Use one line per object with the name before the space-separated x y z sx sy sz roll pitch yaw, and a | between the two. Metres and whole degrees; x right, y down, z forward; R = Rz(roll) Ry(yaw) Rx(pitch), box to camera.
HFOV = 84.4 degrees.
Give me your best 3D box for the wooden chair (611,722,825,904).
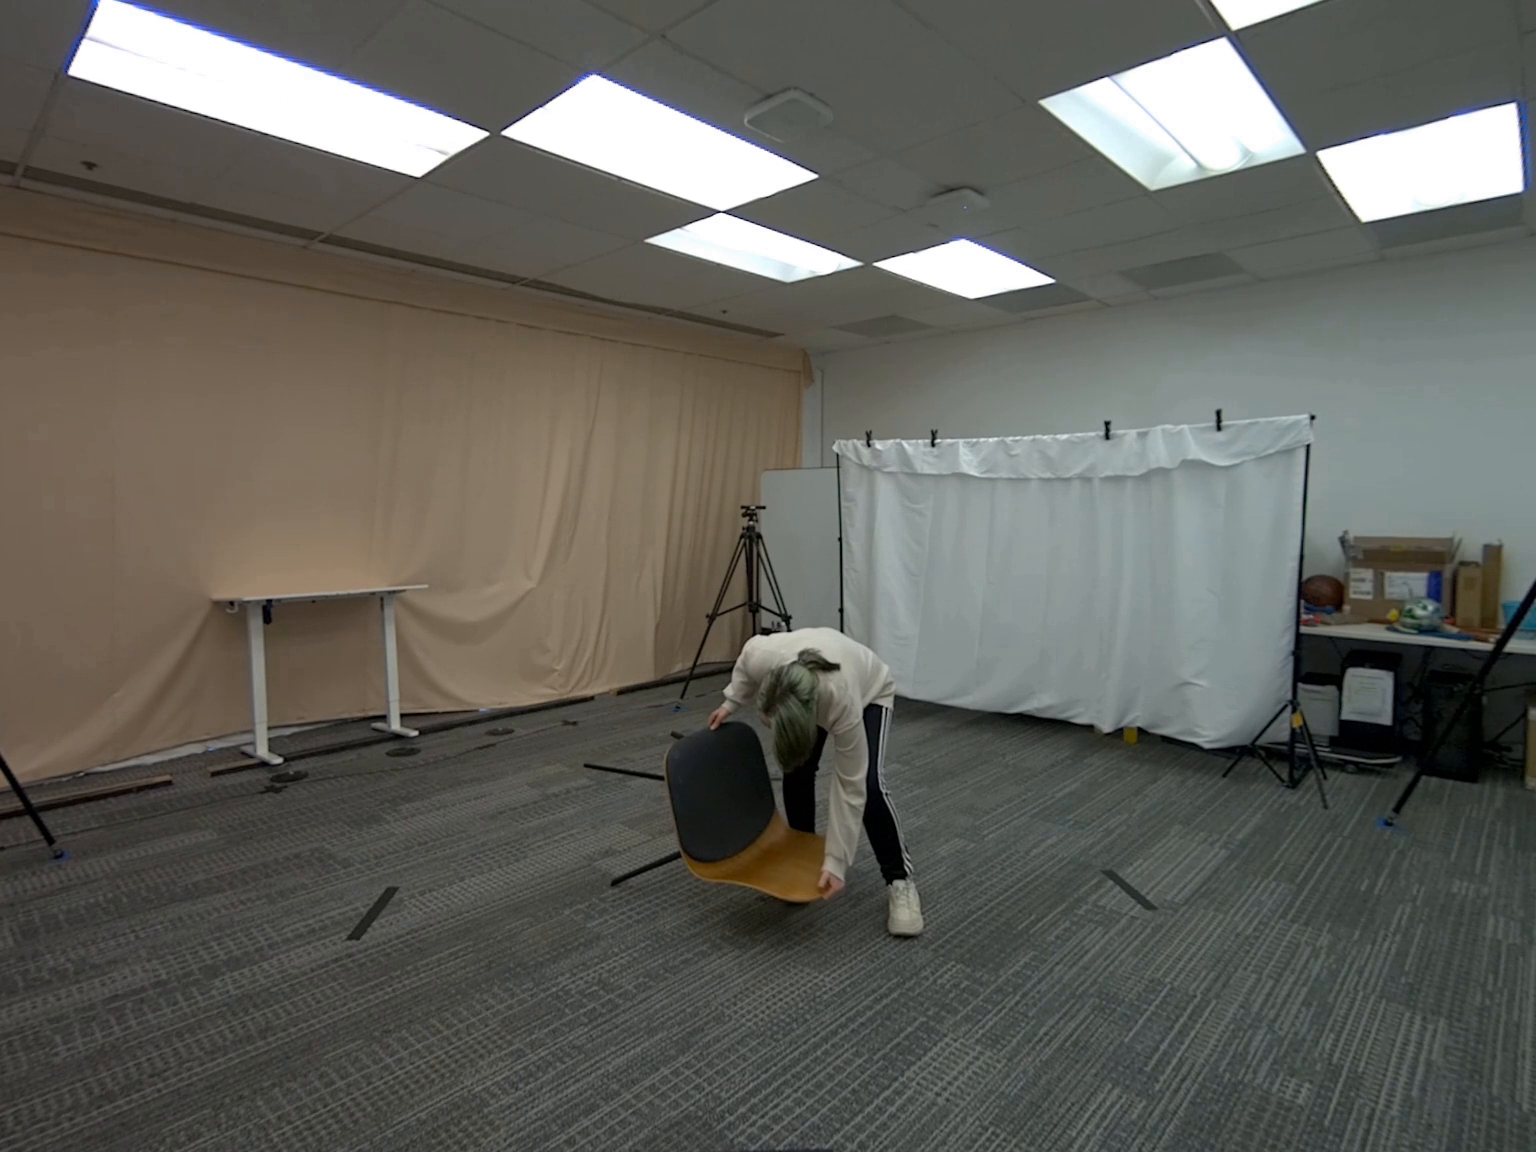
wooden chair | -0.183 0.806 2.963 0.903 0.523 0.464 -8 1 44
